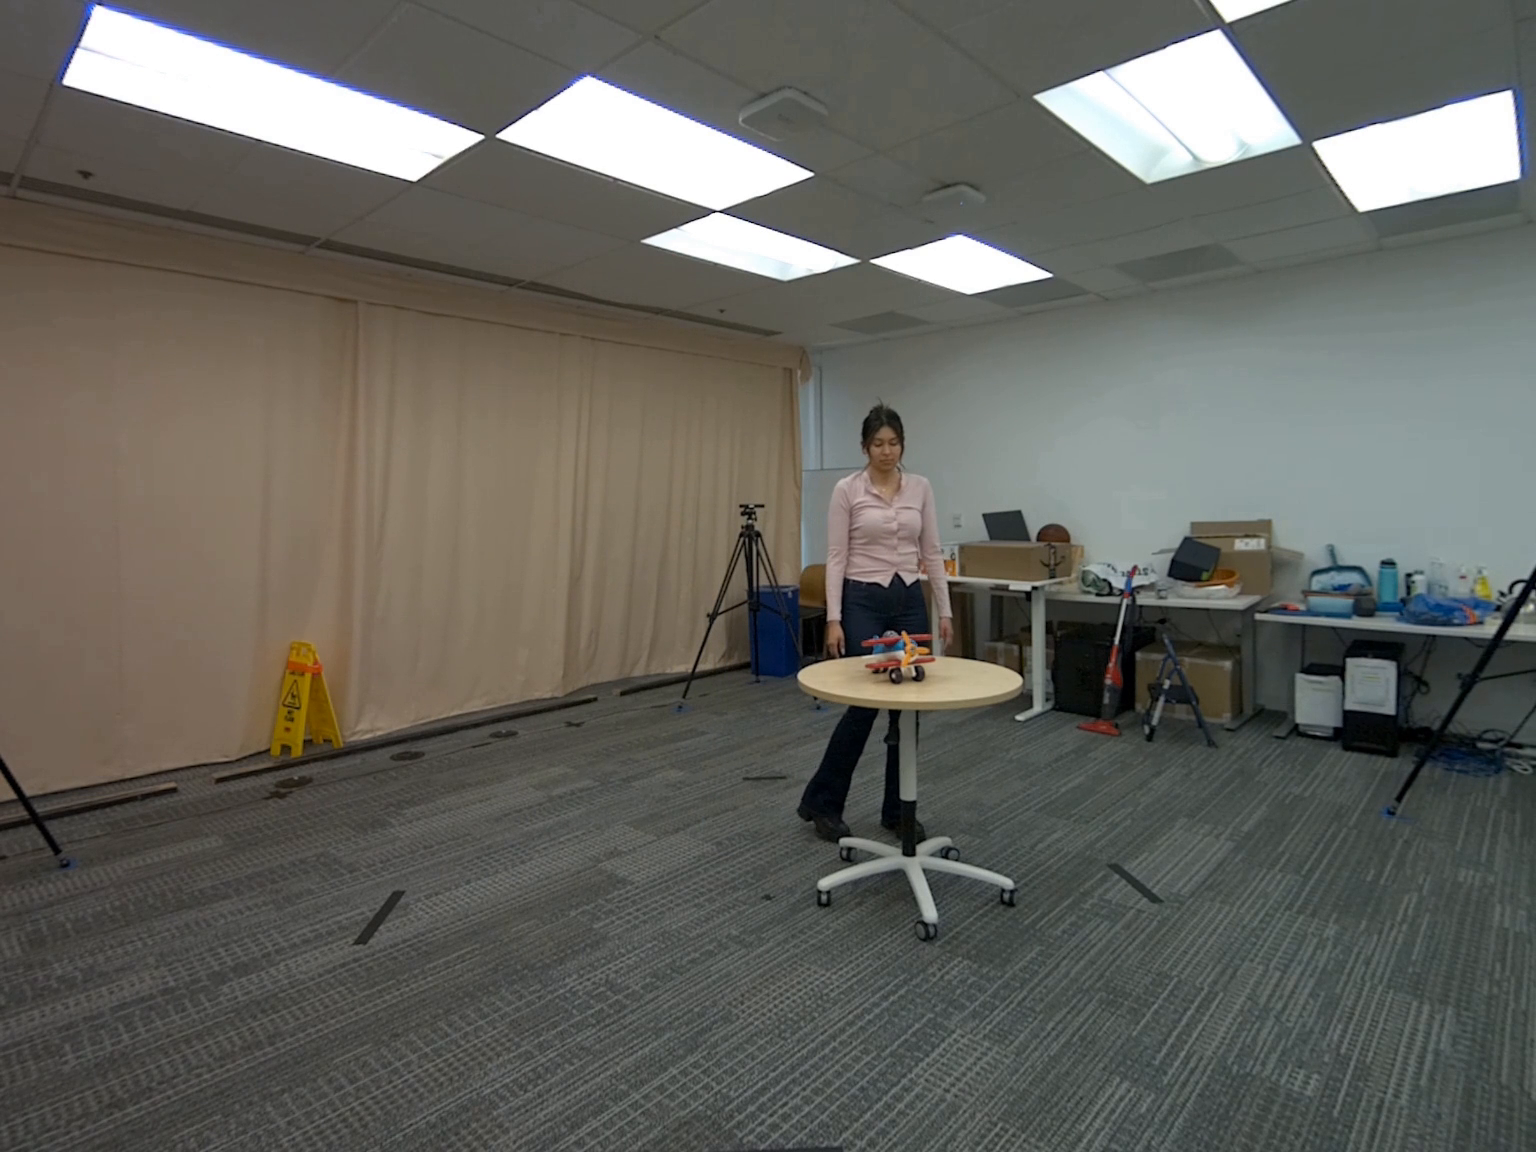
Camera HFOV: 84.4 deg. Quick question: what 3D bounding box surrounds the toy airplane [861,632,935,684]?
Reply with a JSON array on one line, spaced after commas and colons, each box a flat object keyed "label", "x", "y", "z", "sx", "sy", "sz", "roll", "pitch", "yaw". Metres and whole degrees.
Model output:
[{"label": "toy airplane", "x": 0.423, "y": 0.275, "z": 2.920, "sx": 0.244, "sy": 0.156, "sz": 0.268, "roll": -7, "pitch": 8, "yaw": -42}]
